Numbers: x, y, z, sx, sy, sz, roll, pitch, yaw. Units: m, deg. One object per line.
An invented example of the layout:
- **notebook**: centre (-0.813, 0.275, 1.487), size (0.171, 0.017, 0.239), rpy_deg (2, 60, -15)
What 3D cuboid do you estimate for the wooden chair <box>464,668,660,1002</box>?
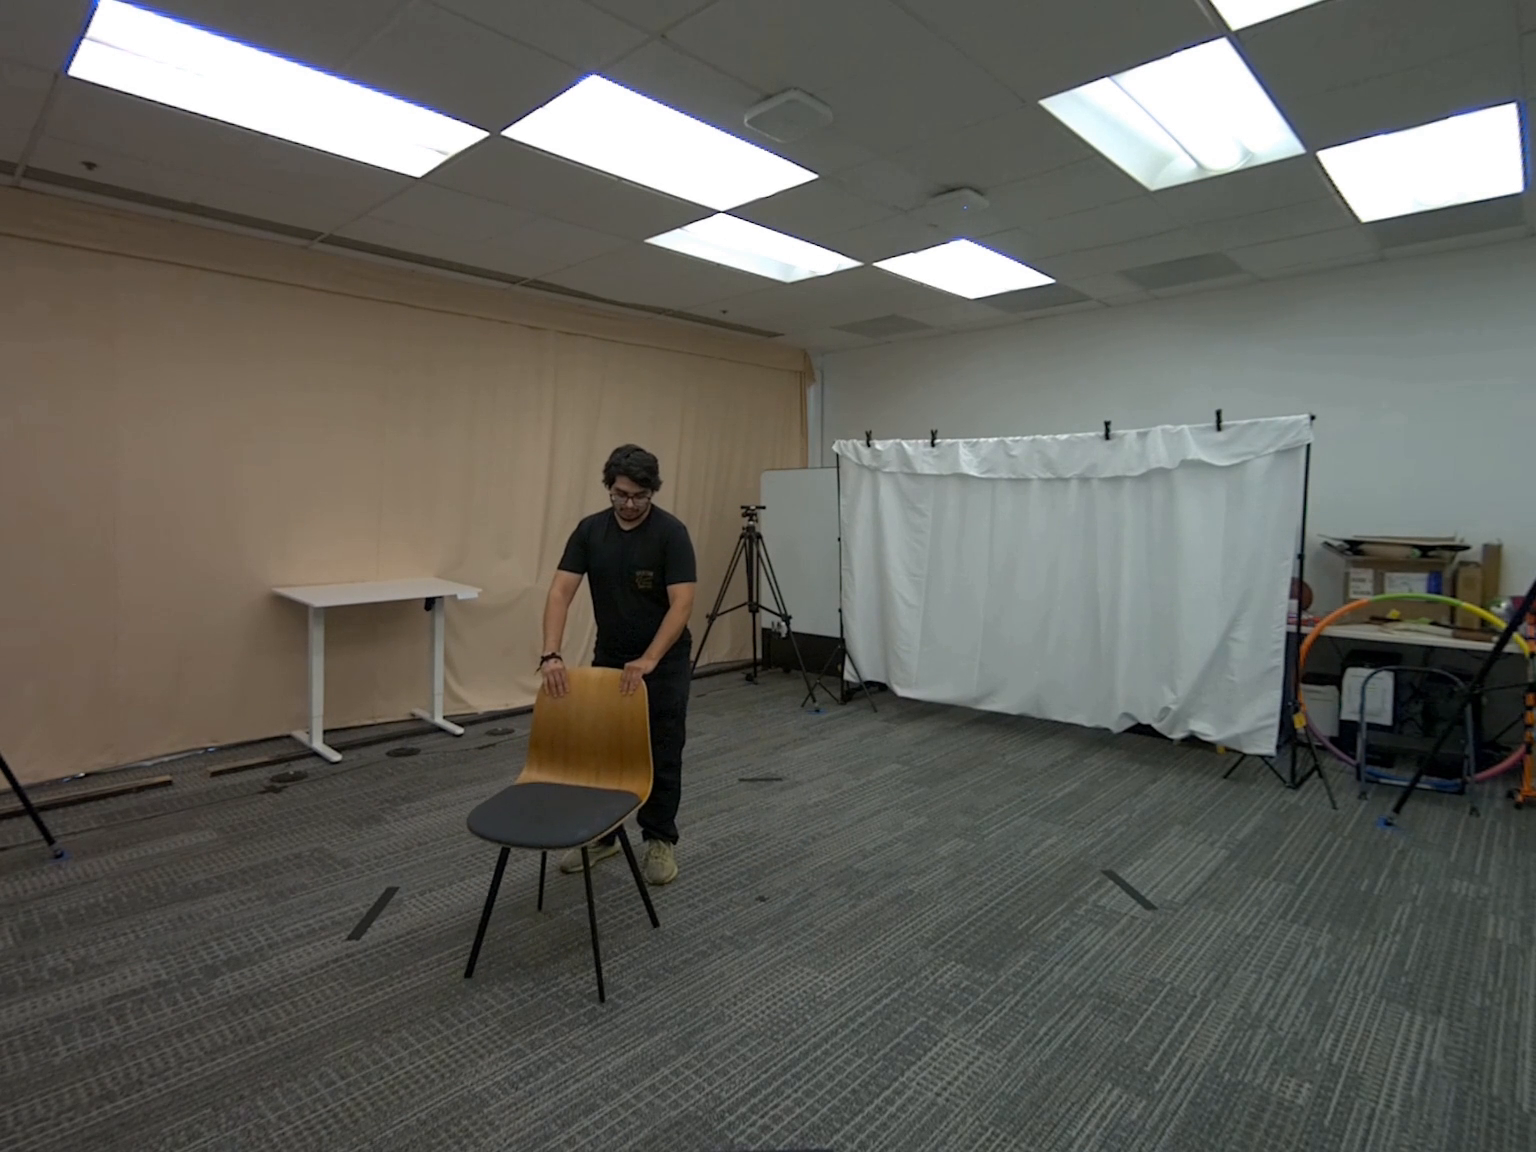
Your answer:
- **wooden chair**: centre (-0.616, 0.747, 2.605), size (0.487, 0.878, 0.514), rpy_deg (2, -1, 16)
